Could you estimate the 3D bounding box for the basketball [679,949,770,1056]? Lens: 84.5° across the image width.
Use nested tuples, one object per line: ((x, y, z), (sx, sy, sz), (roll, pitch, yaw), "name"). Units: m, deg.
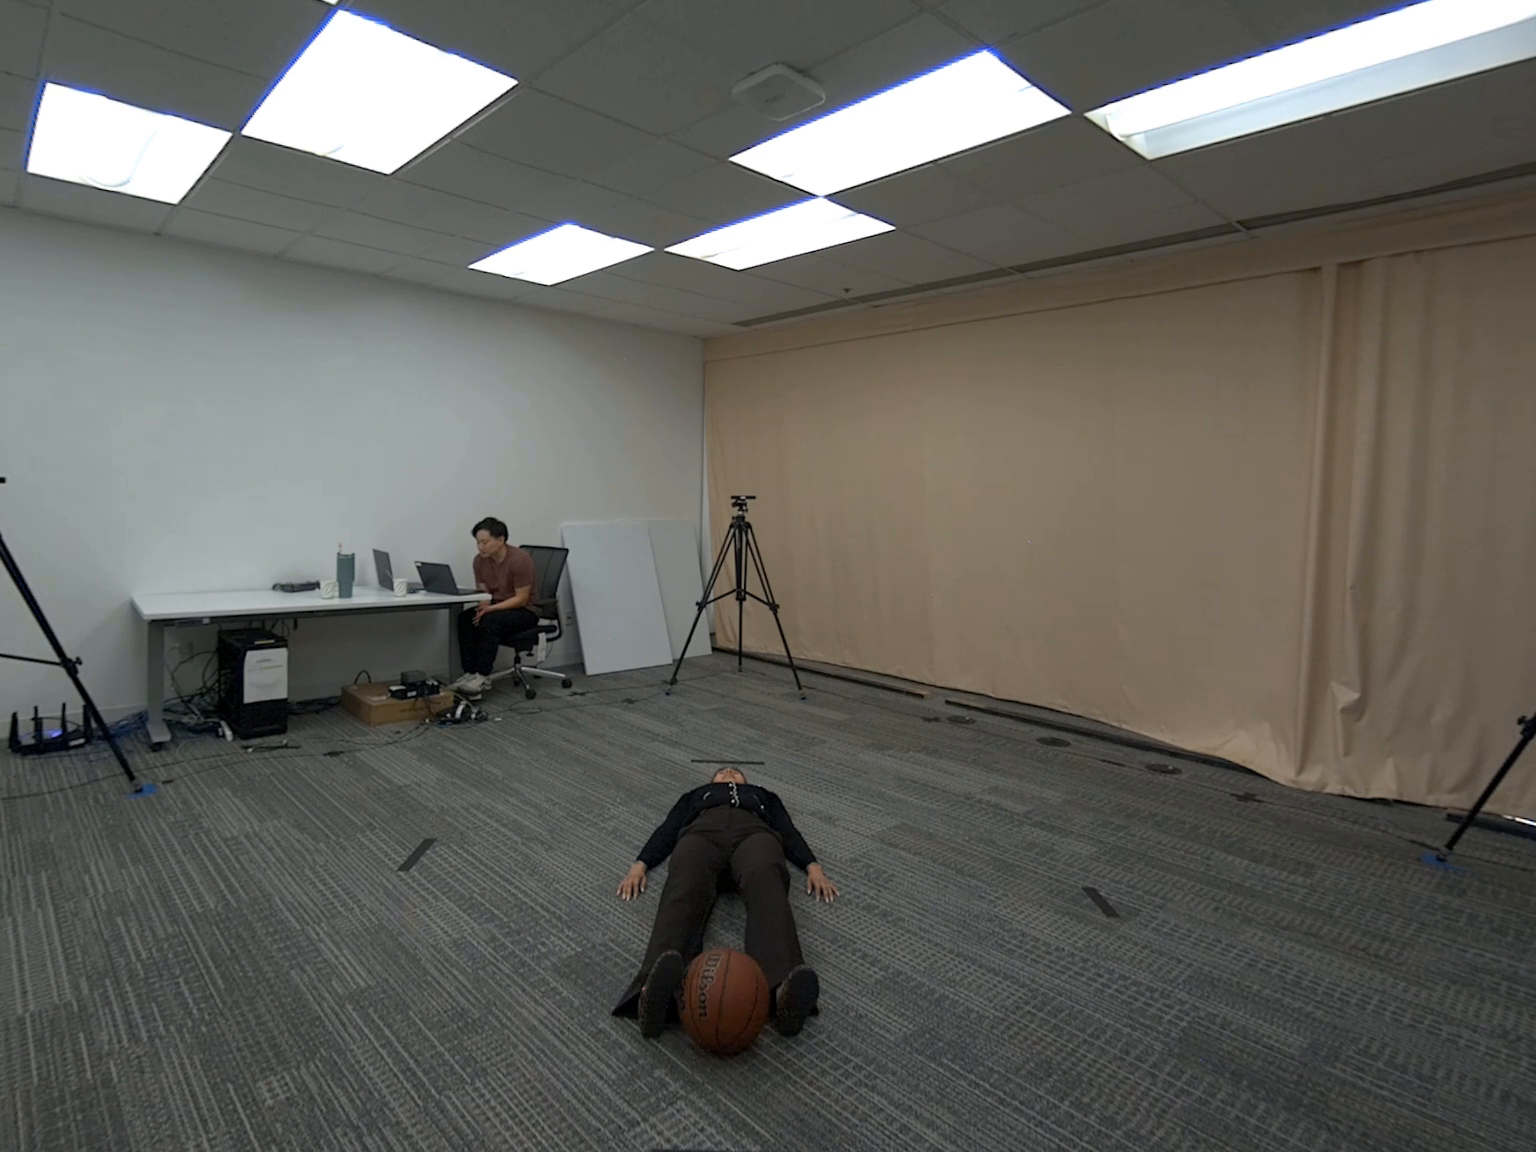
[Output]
((-0.118, 1.074, 2.135), (0.235, 0.235, 0.237), (4, 5, -2), "basketball")
